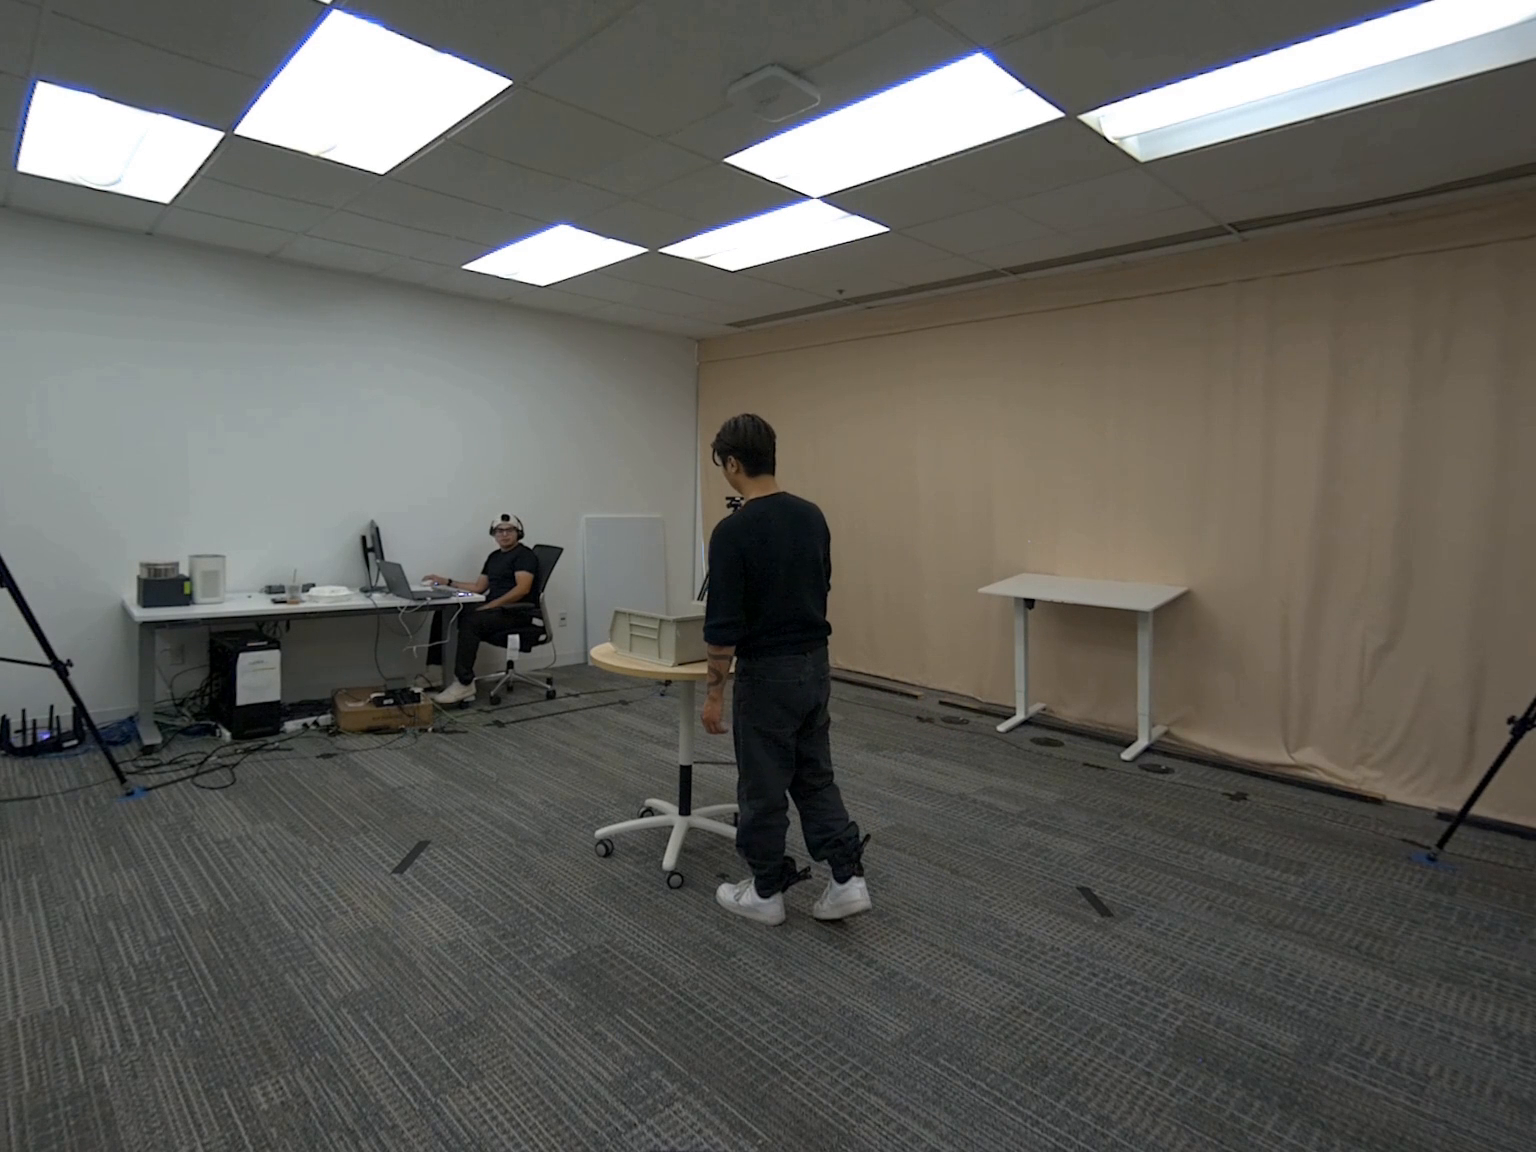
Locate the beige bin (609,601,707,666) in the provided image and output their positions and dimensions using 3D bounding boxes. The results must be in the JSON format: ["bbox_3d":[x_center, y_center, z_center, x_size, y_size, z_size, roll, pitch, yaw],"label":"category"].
[{"bbox_3d":[-0.339,0.213,3.260,0.387,0.188,0.413,7,7,41],"label":"beige bin"}]
